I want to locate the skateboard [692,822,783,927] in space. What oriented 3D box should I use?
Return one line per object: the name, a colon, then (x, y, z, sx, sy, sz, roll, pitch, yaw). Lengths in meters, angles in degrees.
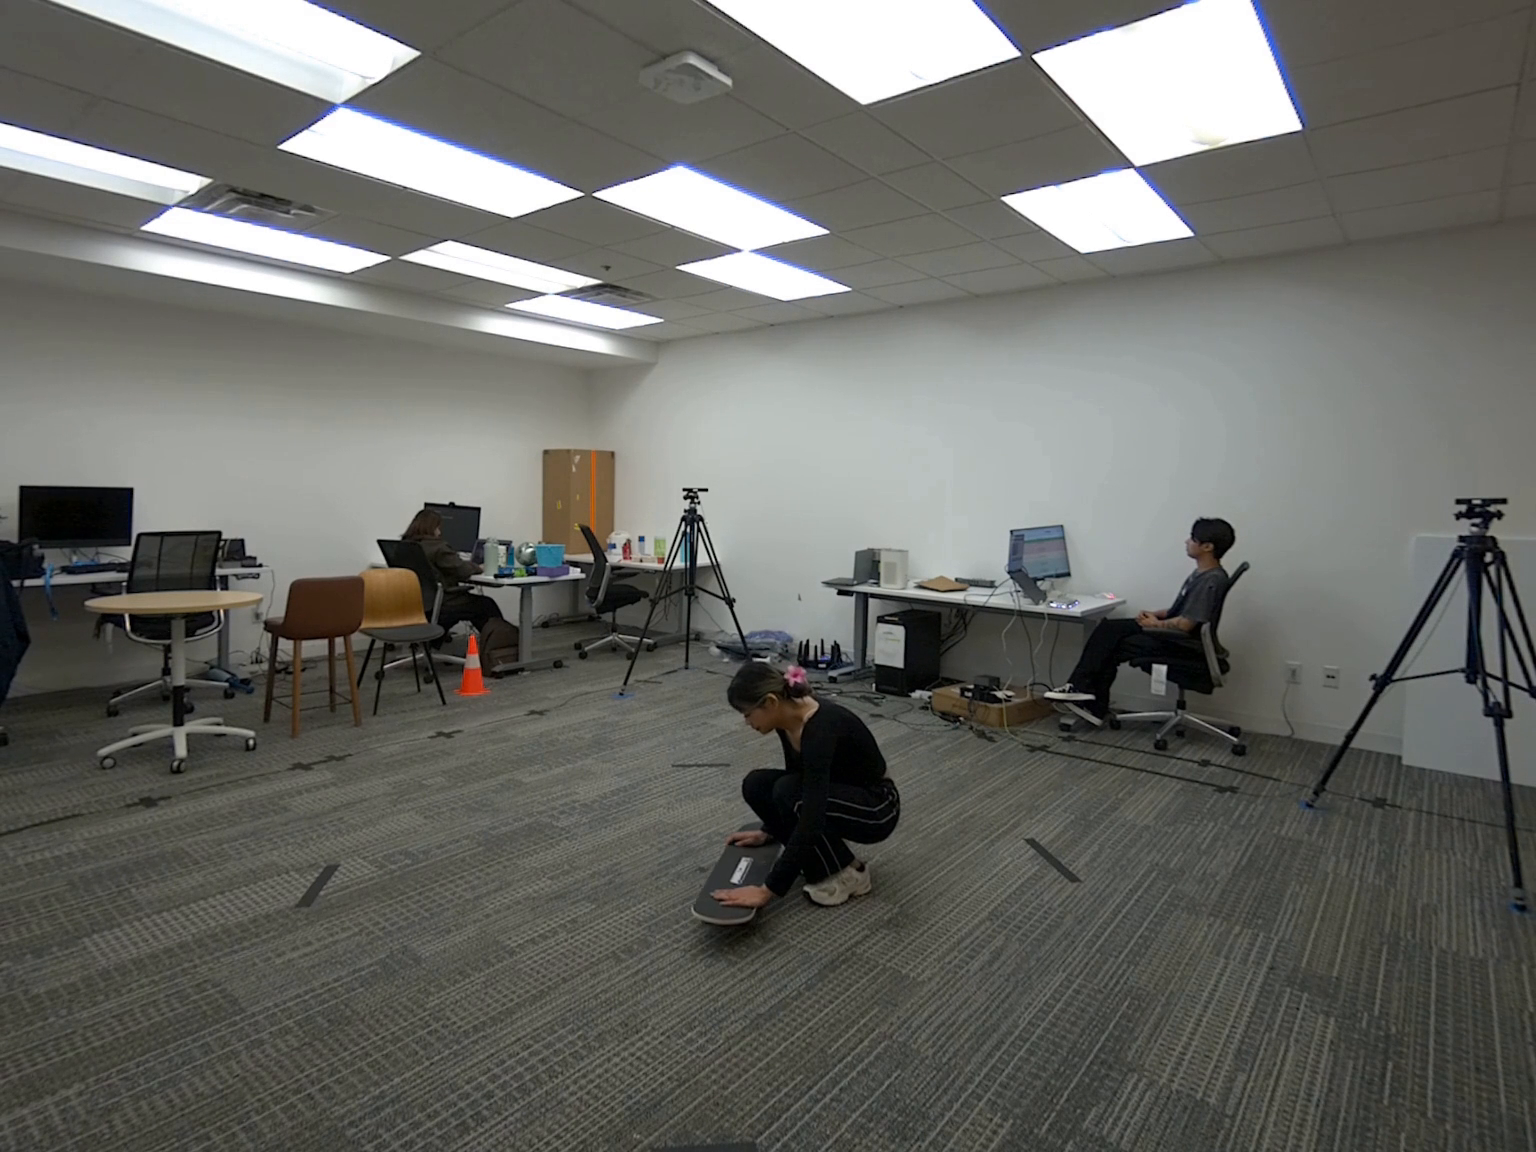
skateboard: (-0.098, 1.029, 2.916, 0.196, 0.110, 0.779, 2, 5, 9)
